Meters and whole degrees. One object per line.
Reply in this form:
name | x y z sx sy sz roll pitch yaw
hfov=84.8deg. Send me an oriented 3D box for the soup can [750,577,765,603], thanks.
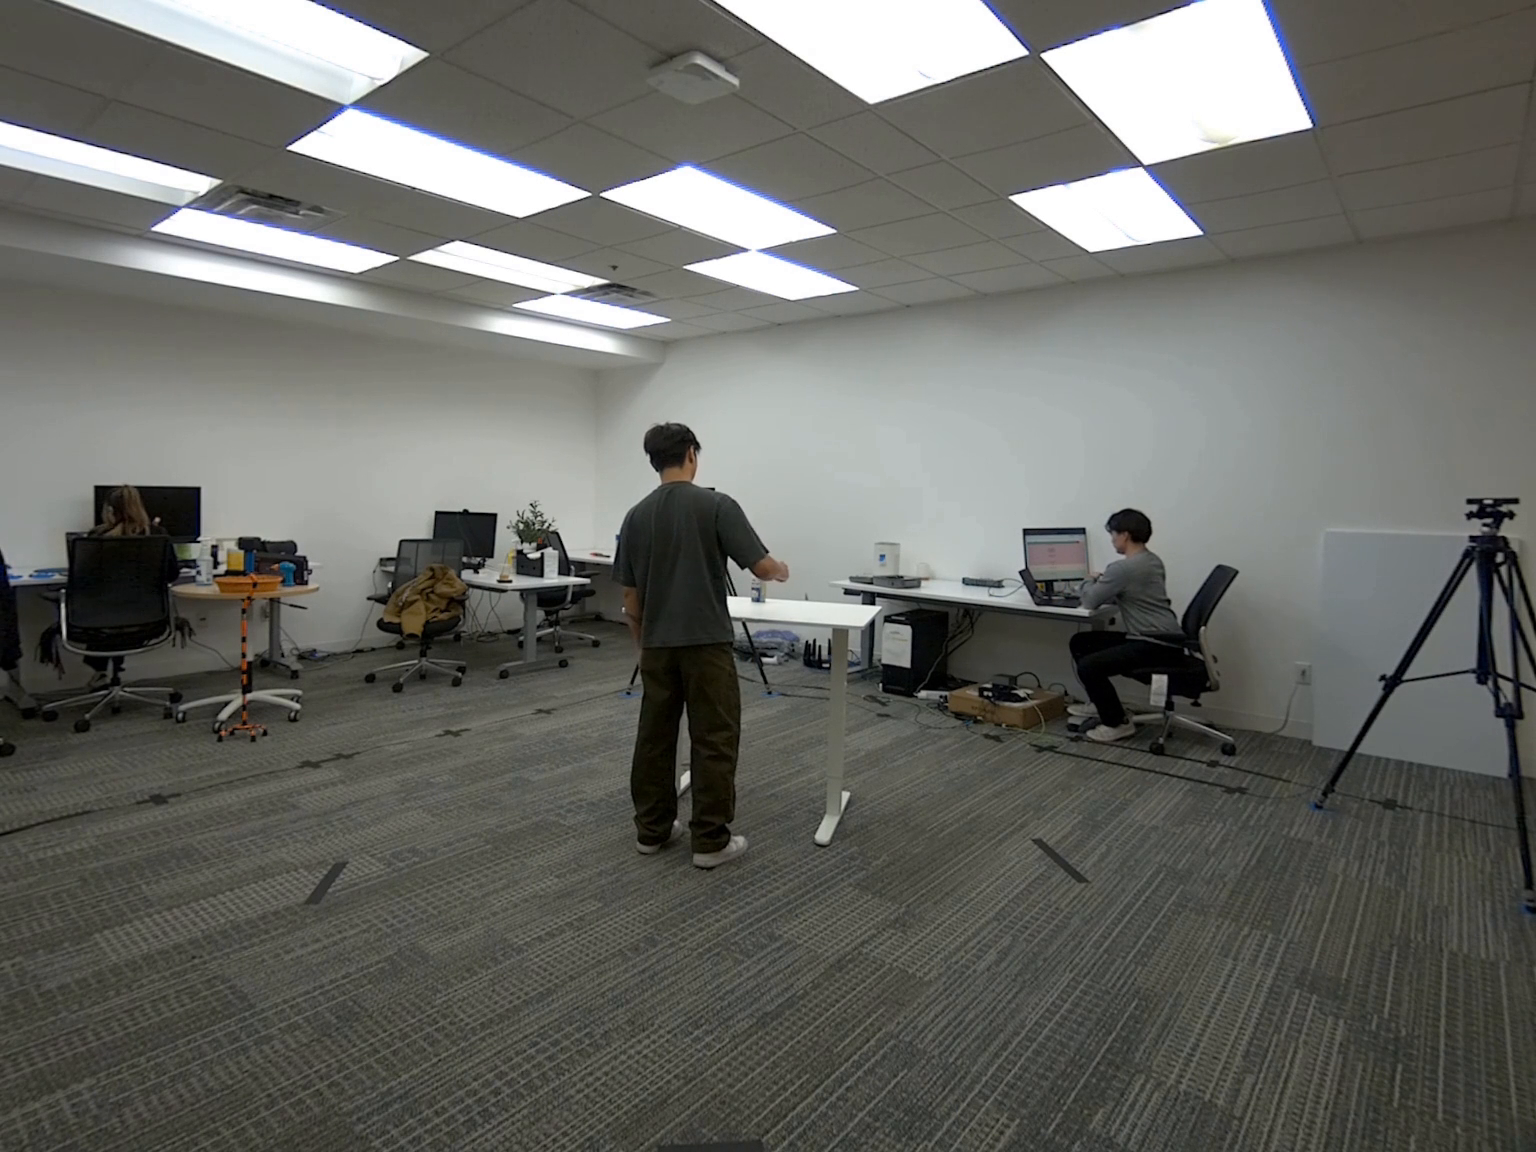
soup can | -0.055 0.054 3.851 0.067 0.121 0.067 0 1 -2
